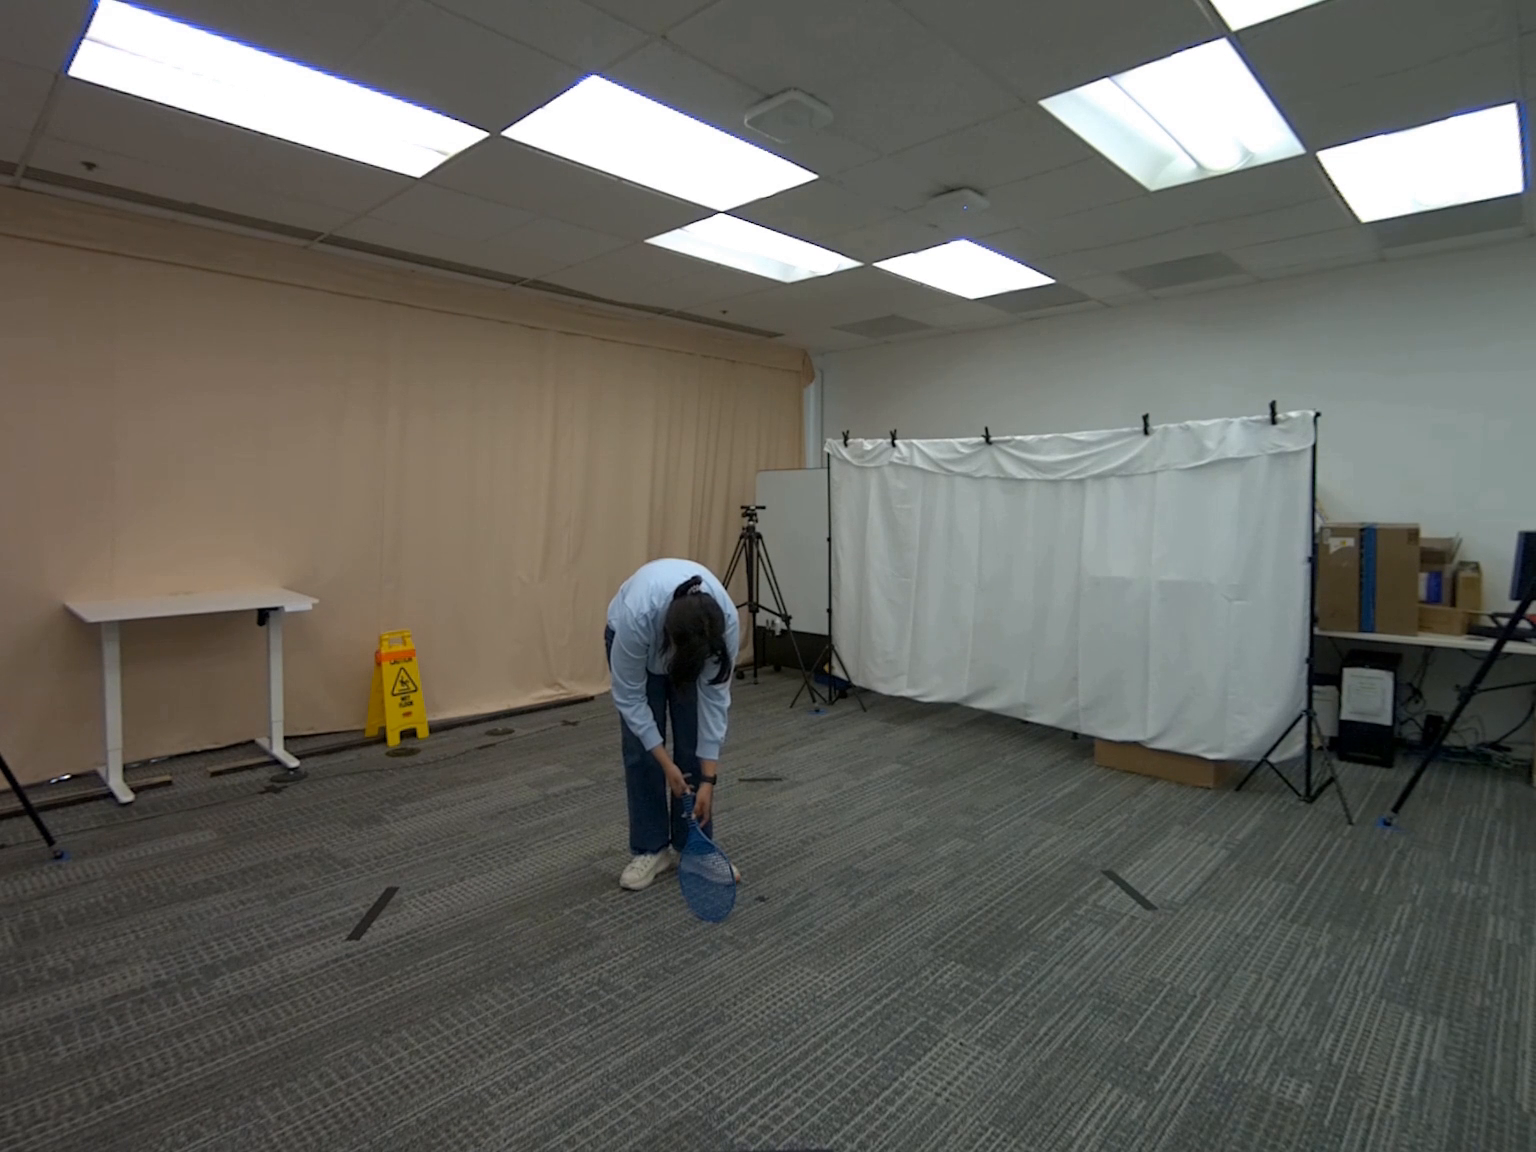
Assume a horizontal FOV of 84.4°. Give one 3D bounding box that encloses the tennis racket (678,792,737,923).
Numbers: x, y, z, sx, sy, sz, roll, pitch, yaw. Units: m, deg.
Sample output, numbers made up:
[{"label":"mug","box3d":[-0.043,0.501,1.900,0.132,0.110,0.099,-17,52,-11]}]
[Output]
[{"label":"tennis racket","box3d":[-0.227,0.951,2.862,0.217,0.438,0.031,-25,-14,25]}]
